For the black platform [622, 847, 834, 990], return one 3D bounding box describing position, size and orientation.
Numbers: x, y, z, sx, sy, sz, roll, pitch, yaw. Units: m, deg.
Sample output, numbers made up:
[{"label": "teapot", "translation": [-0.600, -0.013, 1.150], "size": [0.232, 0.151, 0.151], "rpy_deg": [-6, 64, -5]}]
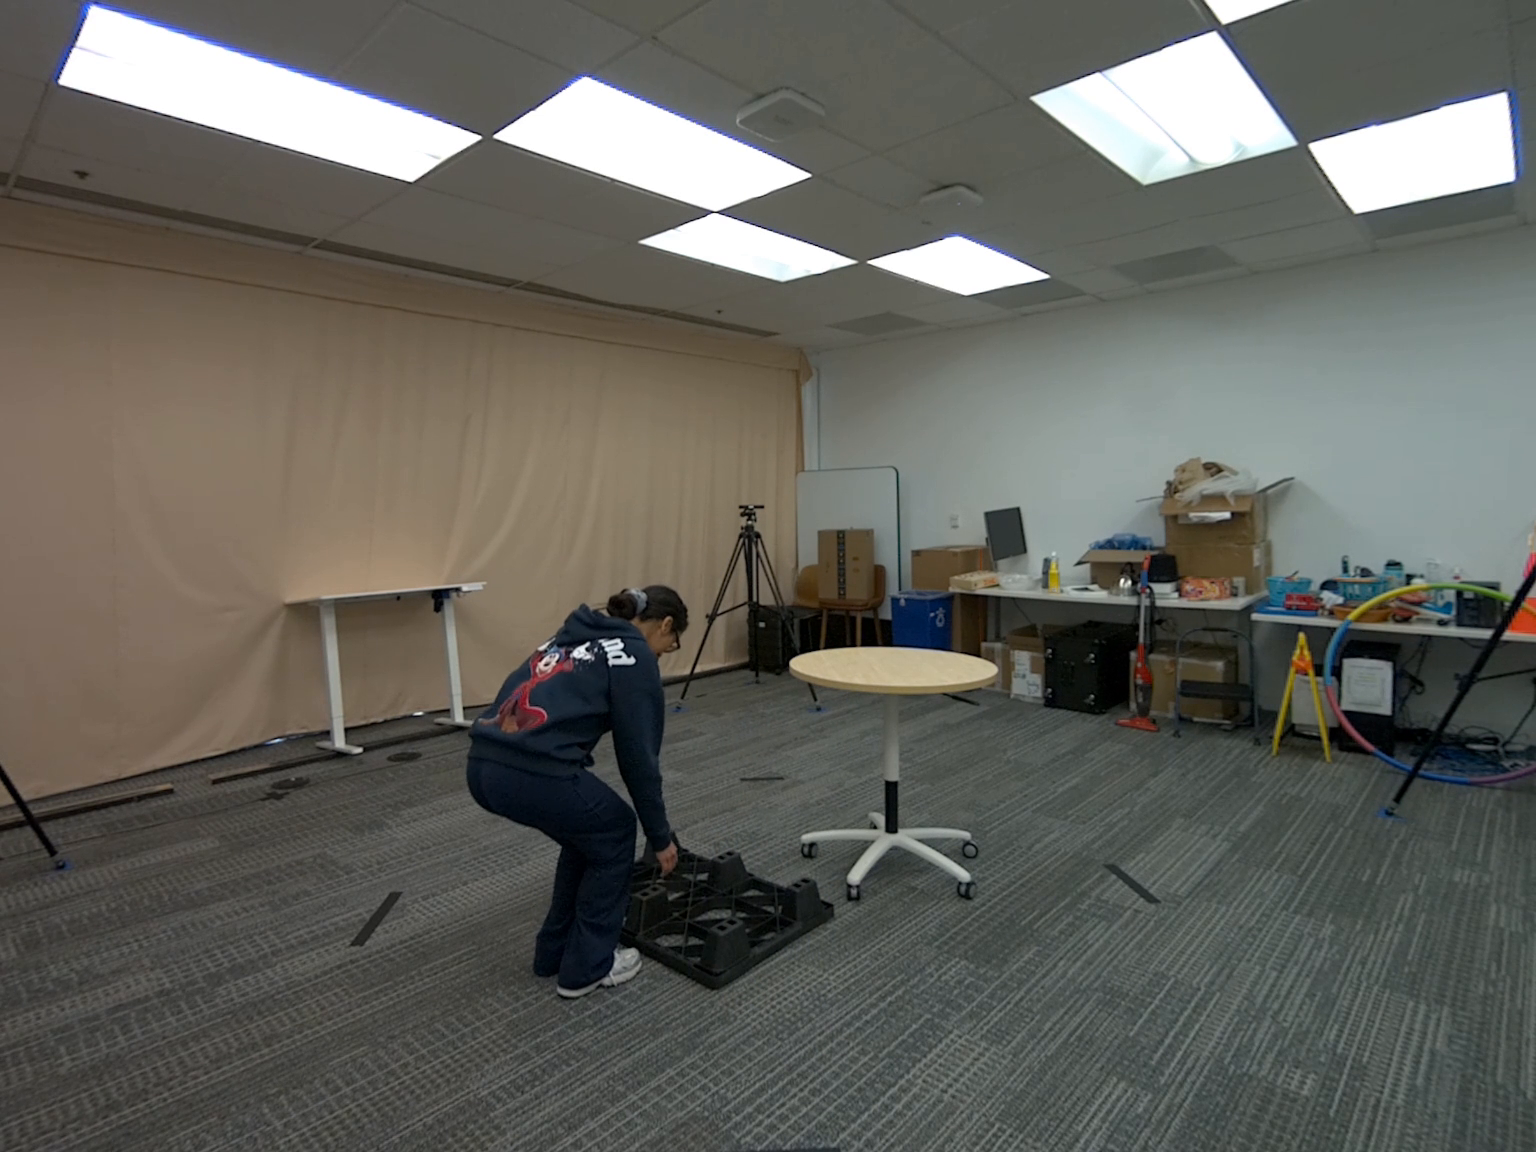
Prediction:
[{"label": "black platform", "translation": [-0.258, 1.092, 2.894], "size": [0.832, 0.143, 0.587], "rpy_deg": [3, 7, 41]}]
